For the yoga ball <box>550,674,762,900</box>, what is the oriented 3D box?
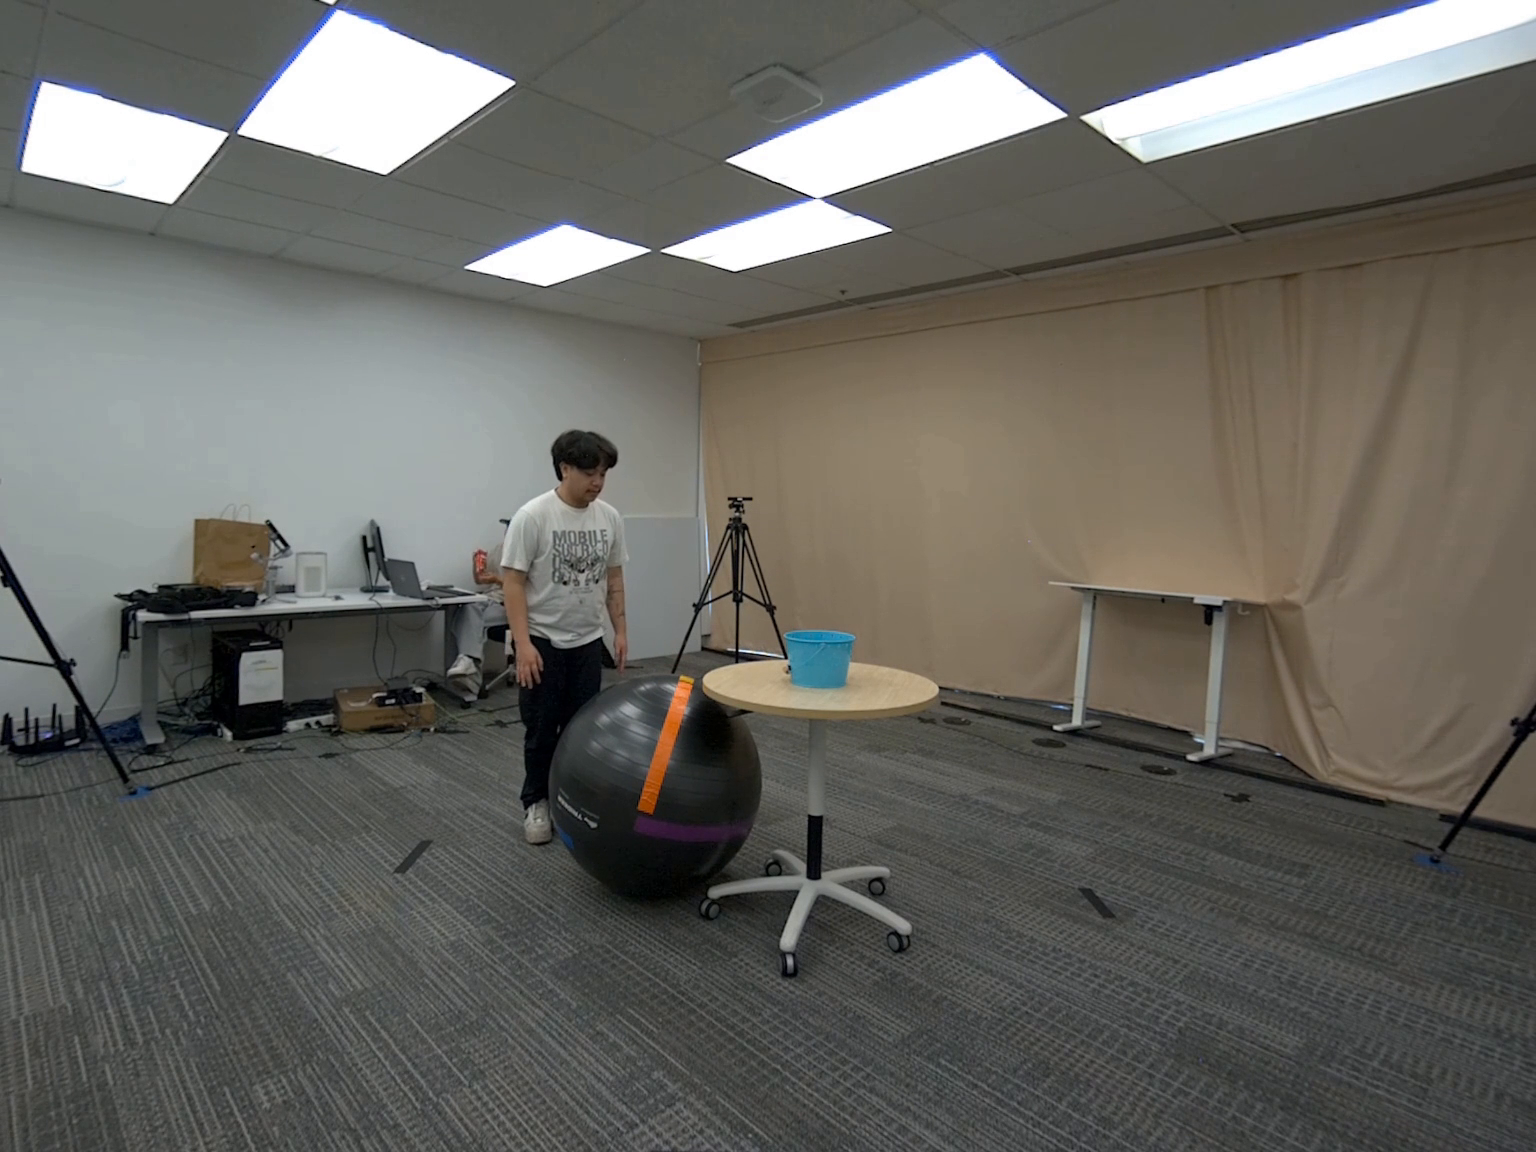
[{"bbox_3d":[-0.401,0.746,3.011,0.757,0.756,0.760,1,4,-1],"label":"yoga ball"}]
